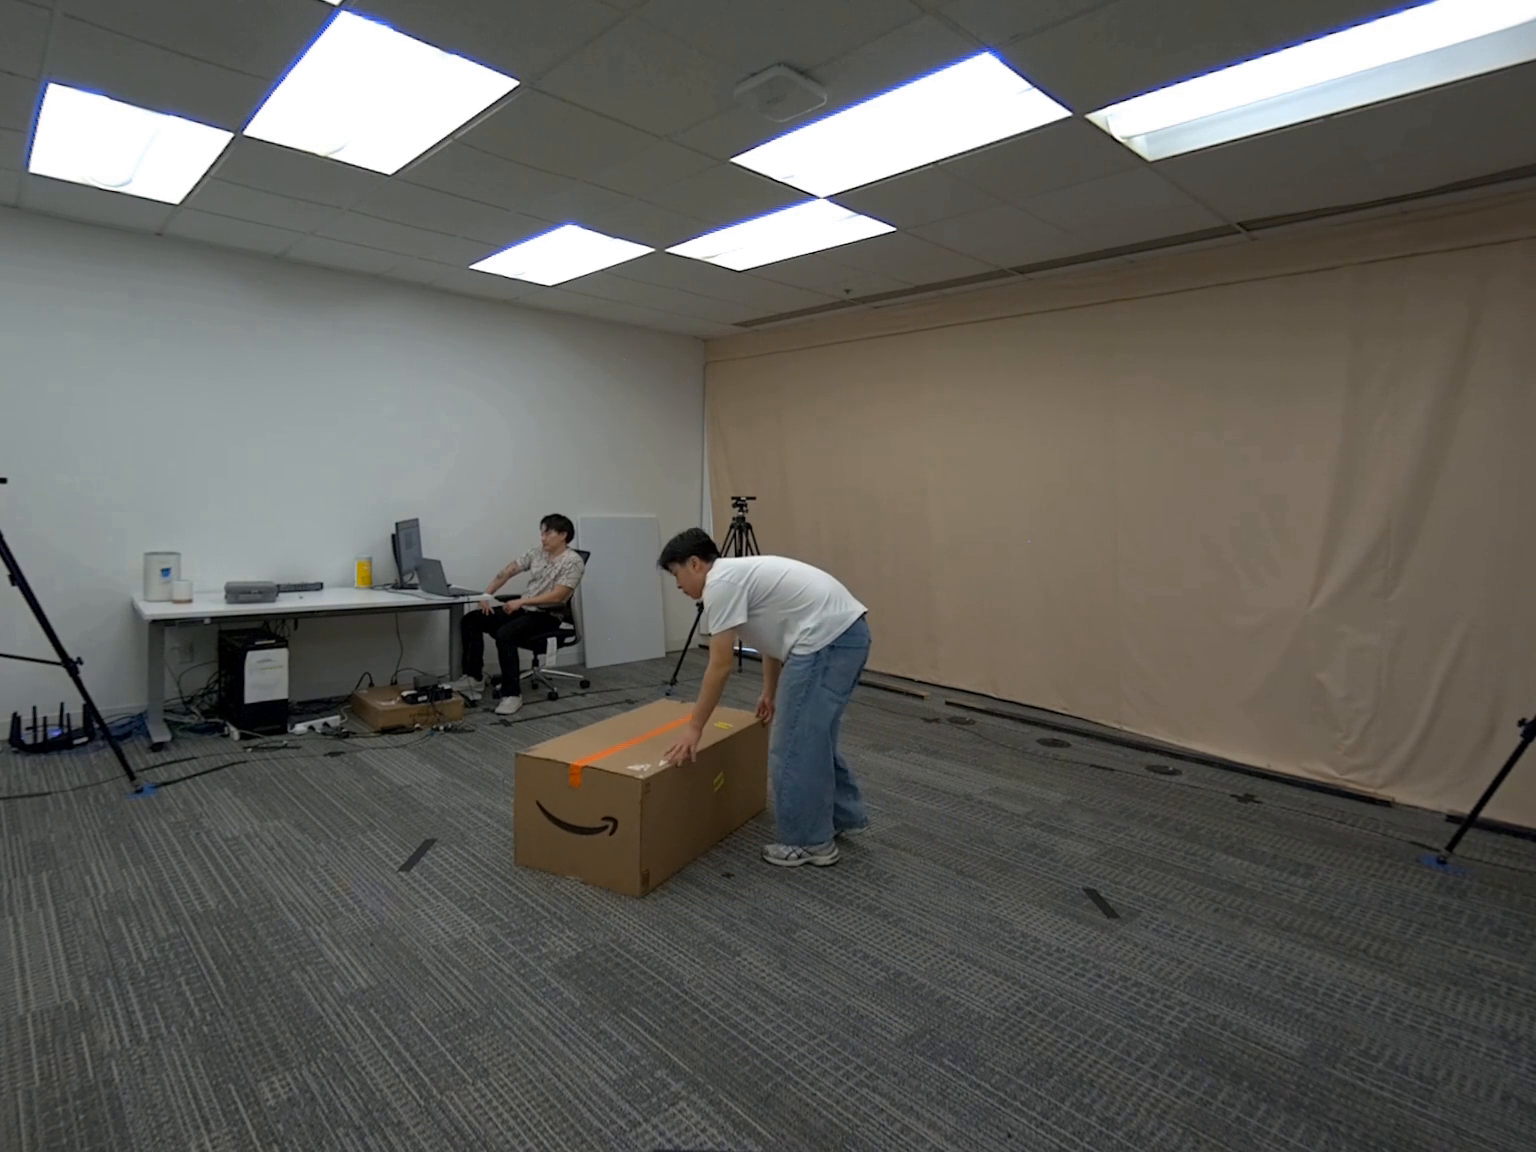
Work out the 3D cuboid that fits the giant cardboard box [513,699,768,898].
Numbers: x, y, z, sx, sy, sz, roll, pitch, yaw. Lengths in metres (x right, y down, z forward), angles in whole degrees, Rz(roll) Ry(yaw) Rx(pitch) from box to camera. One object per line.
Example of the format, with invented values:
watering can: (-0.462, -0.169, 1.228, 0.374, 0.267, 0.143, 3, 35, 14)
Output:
giant cardboard box: (-0.482, 0.851, 3.474, 0.589, 0.425, 1.008, 4, 5, 26)
